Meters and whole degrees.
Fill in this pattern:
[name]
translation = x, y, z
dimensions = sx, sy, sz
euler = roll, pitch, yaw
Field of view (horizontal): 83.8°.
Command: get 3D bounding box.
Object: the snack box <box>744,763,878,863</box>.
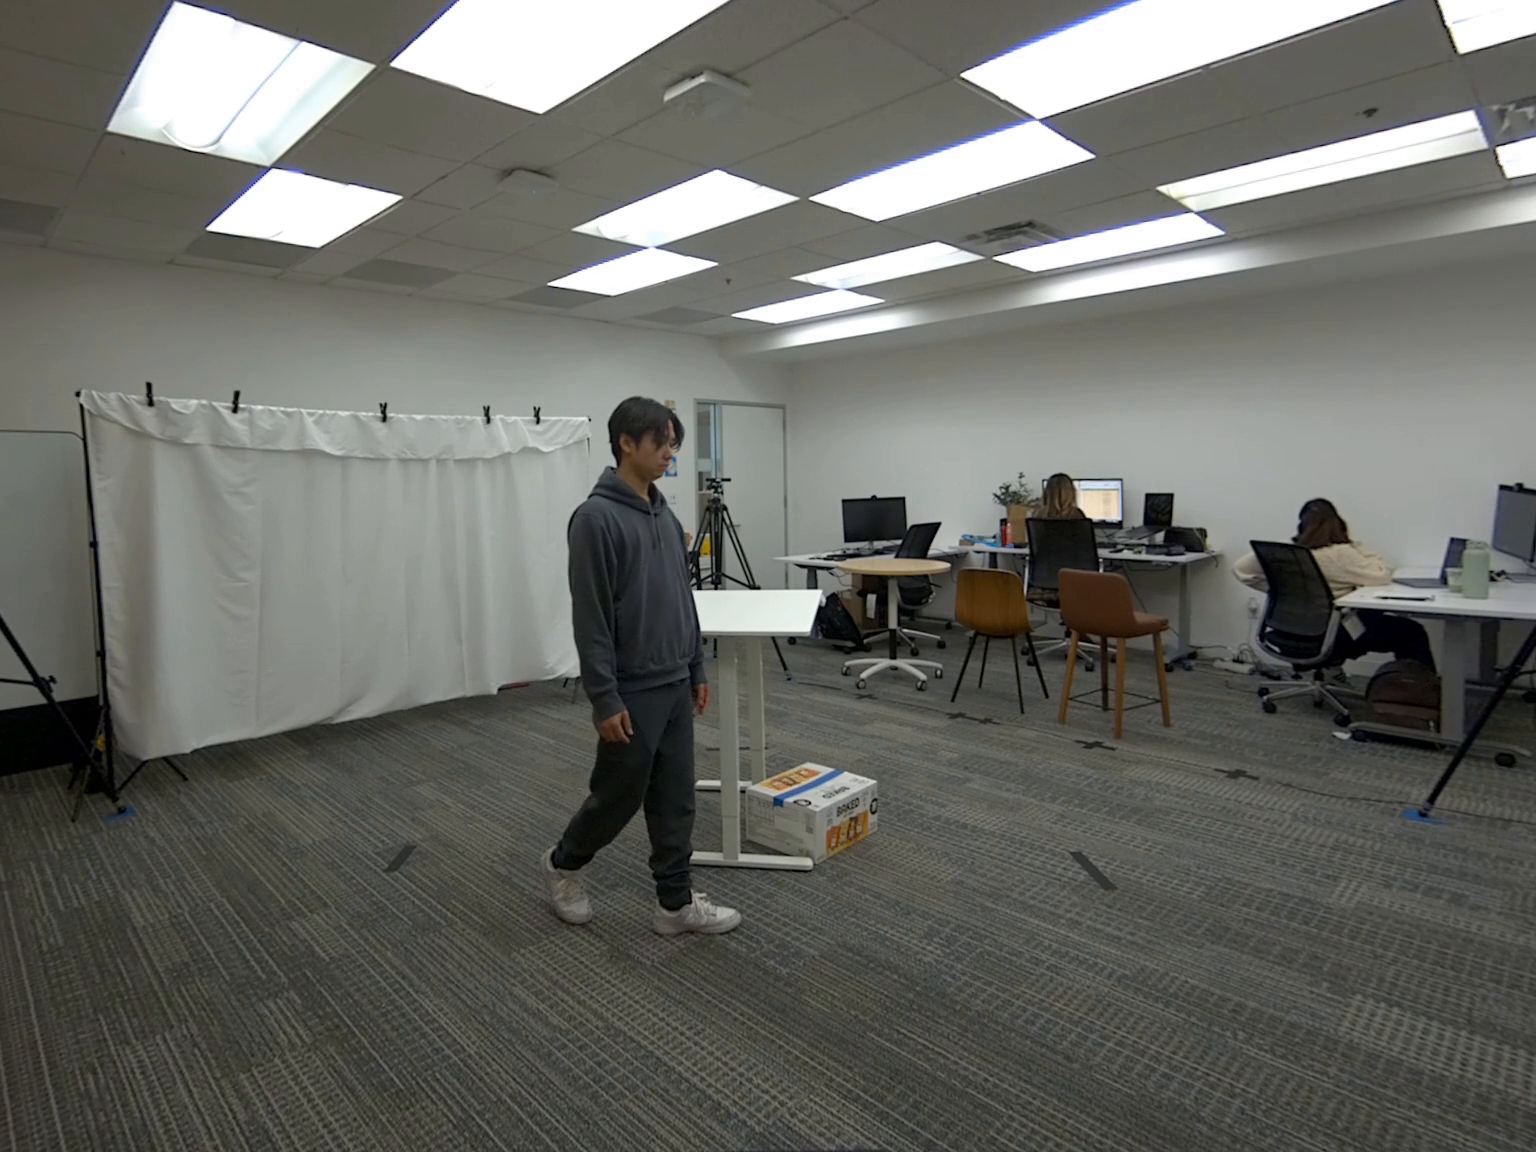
[snack box]
translation = 0.177, 0.913, 3.327
dimensions = 0.351, 0.205, 0.395
euler = 4, 8, 41
